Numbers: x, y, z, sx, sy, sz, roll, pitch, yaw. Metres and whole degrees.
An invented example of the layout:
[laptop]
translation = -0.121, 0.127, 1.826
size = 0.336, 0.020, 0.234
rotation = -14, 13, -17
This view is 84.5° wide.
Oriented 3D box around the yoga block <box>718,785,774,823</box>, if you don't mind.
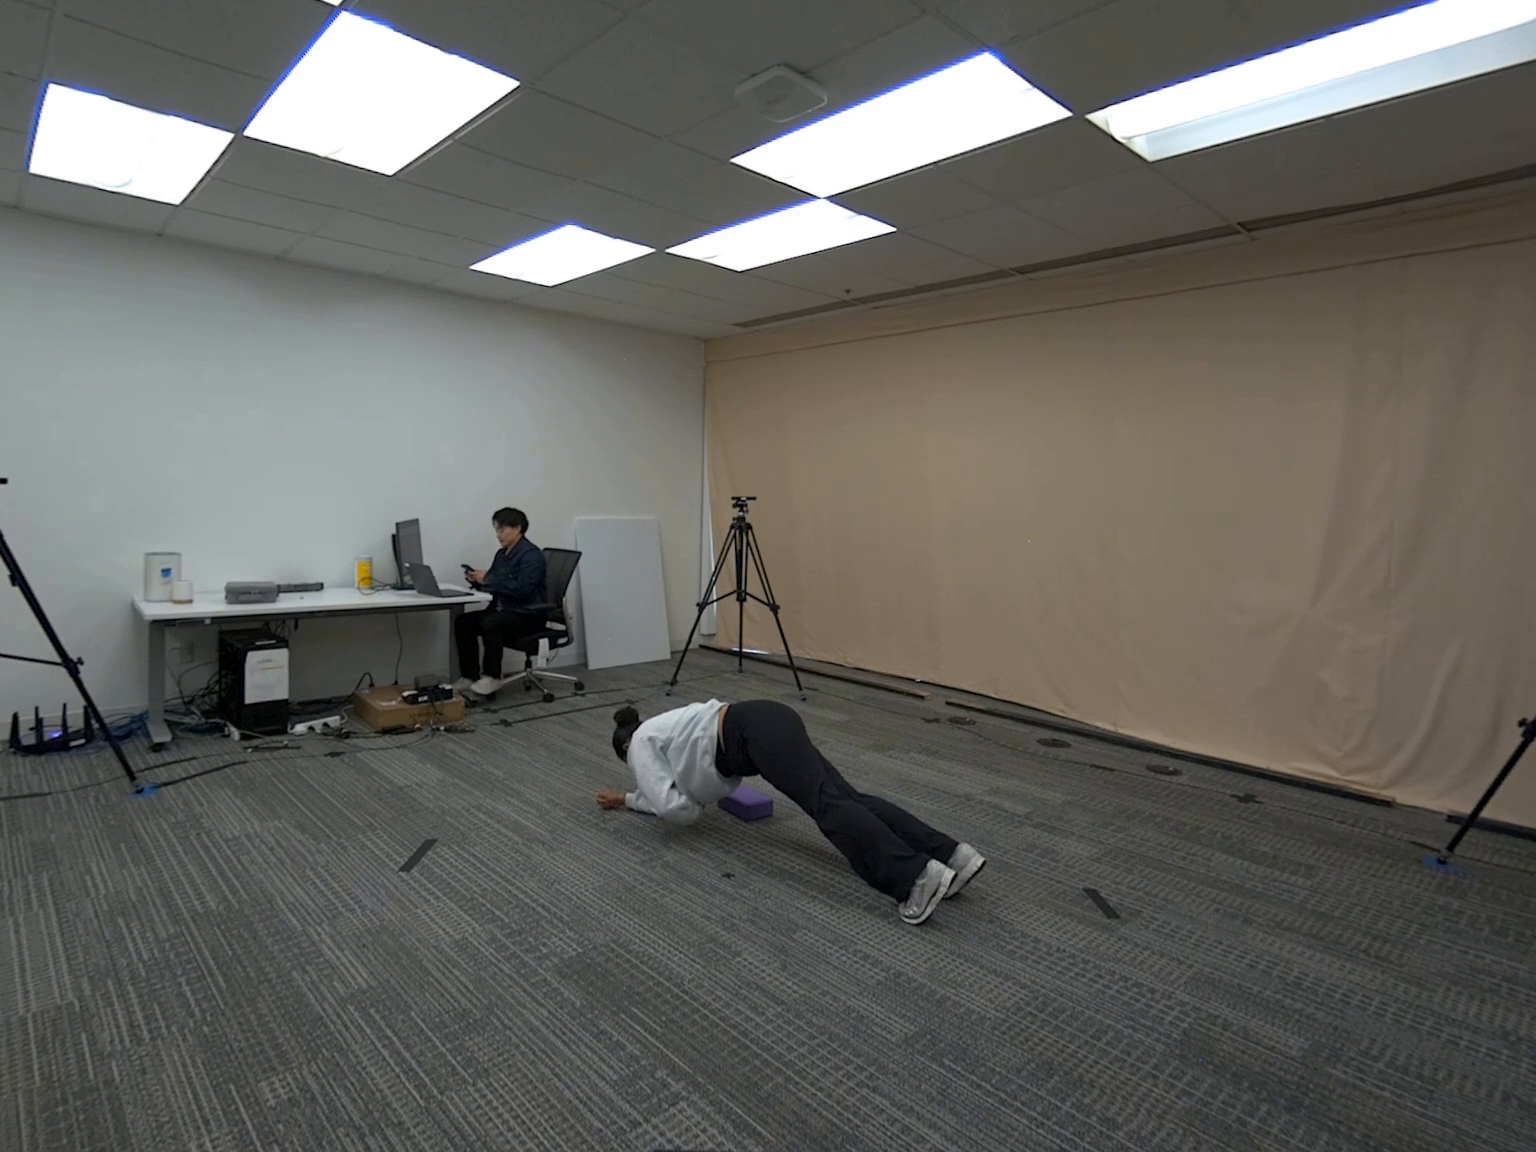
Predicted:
[yoga block]
translation = -0.114, 1.010, 3.759
size = 0.145, 0.076, 0.235
rotation = -2, 5, -39
